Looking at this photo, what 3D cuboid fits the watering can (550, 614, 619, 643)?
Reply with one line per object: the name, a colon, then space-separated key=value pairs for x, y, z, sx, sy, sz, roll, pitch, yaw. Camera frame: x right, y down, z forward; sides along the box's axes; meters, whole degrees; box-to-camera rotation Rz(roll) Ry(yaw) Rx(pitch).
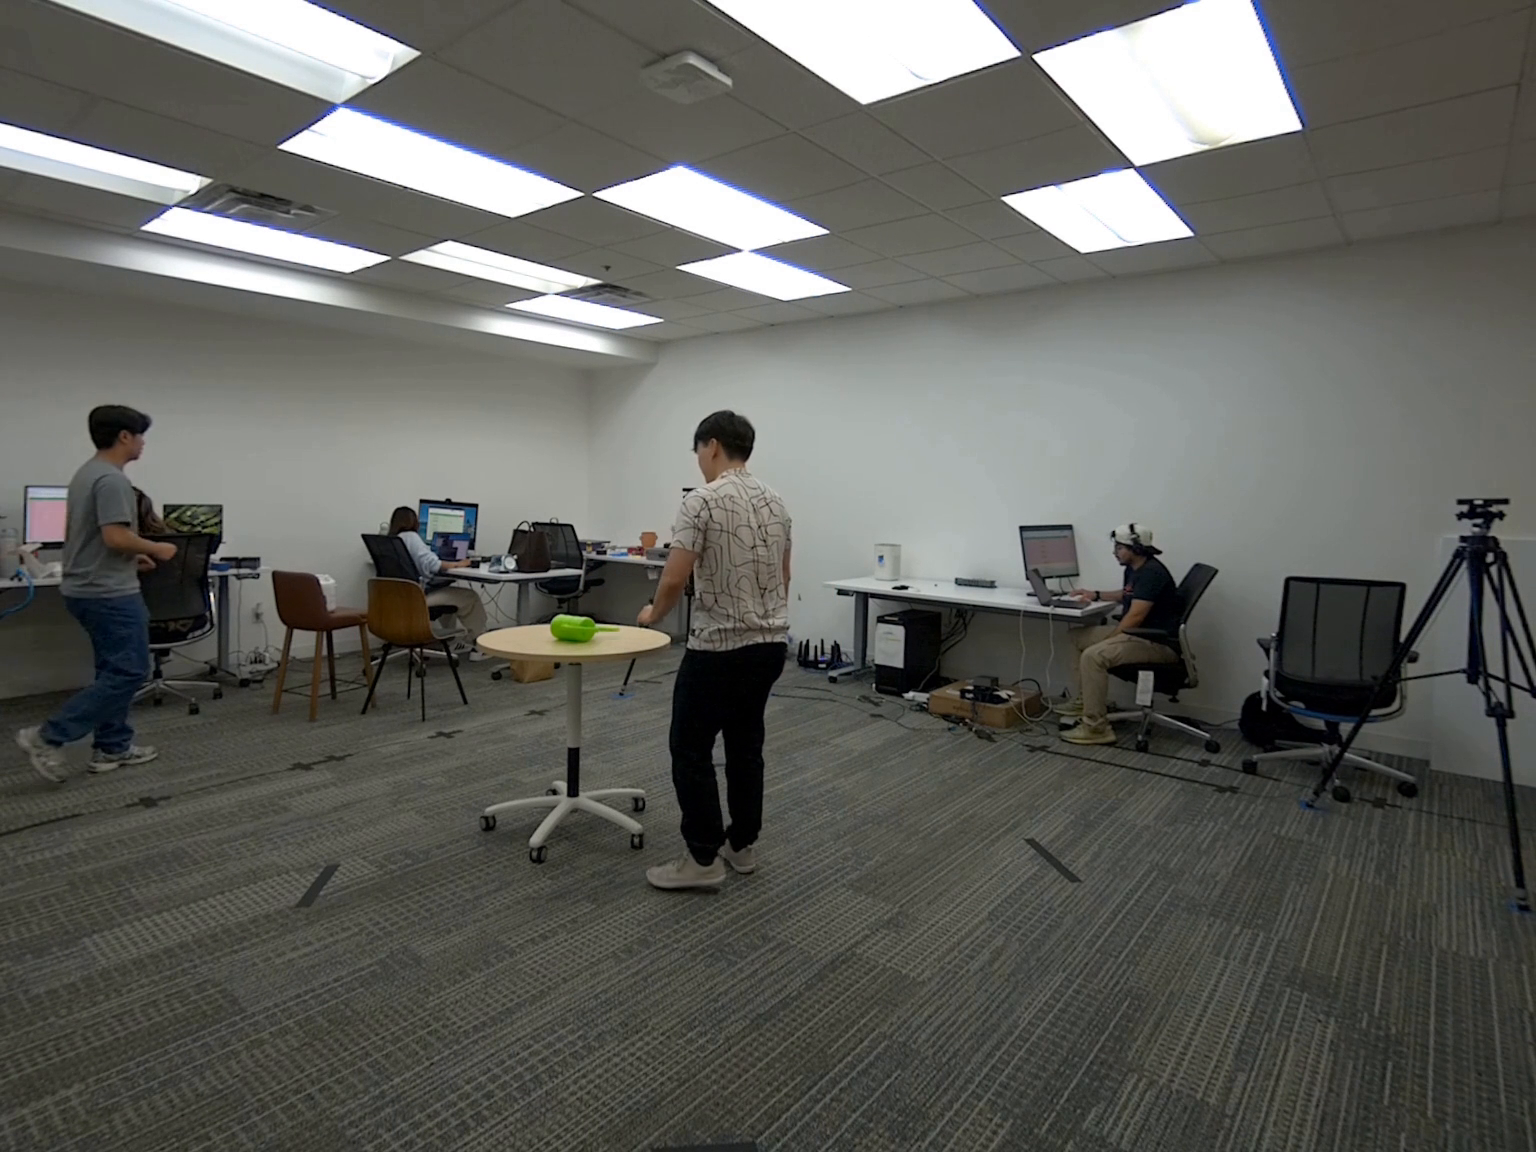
watering can: x=-0.751 y=0.218 z=3.390 sx=0.181 sy=0.099 sz=0.268 roll=4 pitch=-15 yaw=23
